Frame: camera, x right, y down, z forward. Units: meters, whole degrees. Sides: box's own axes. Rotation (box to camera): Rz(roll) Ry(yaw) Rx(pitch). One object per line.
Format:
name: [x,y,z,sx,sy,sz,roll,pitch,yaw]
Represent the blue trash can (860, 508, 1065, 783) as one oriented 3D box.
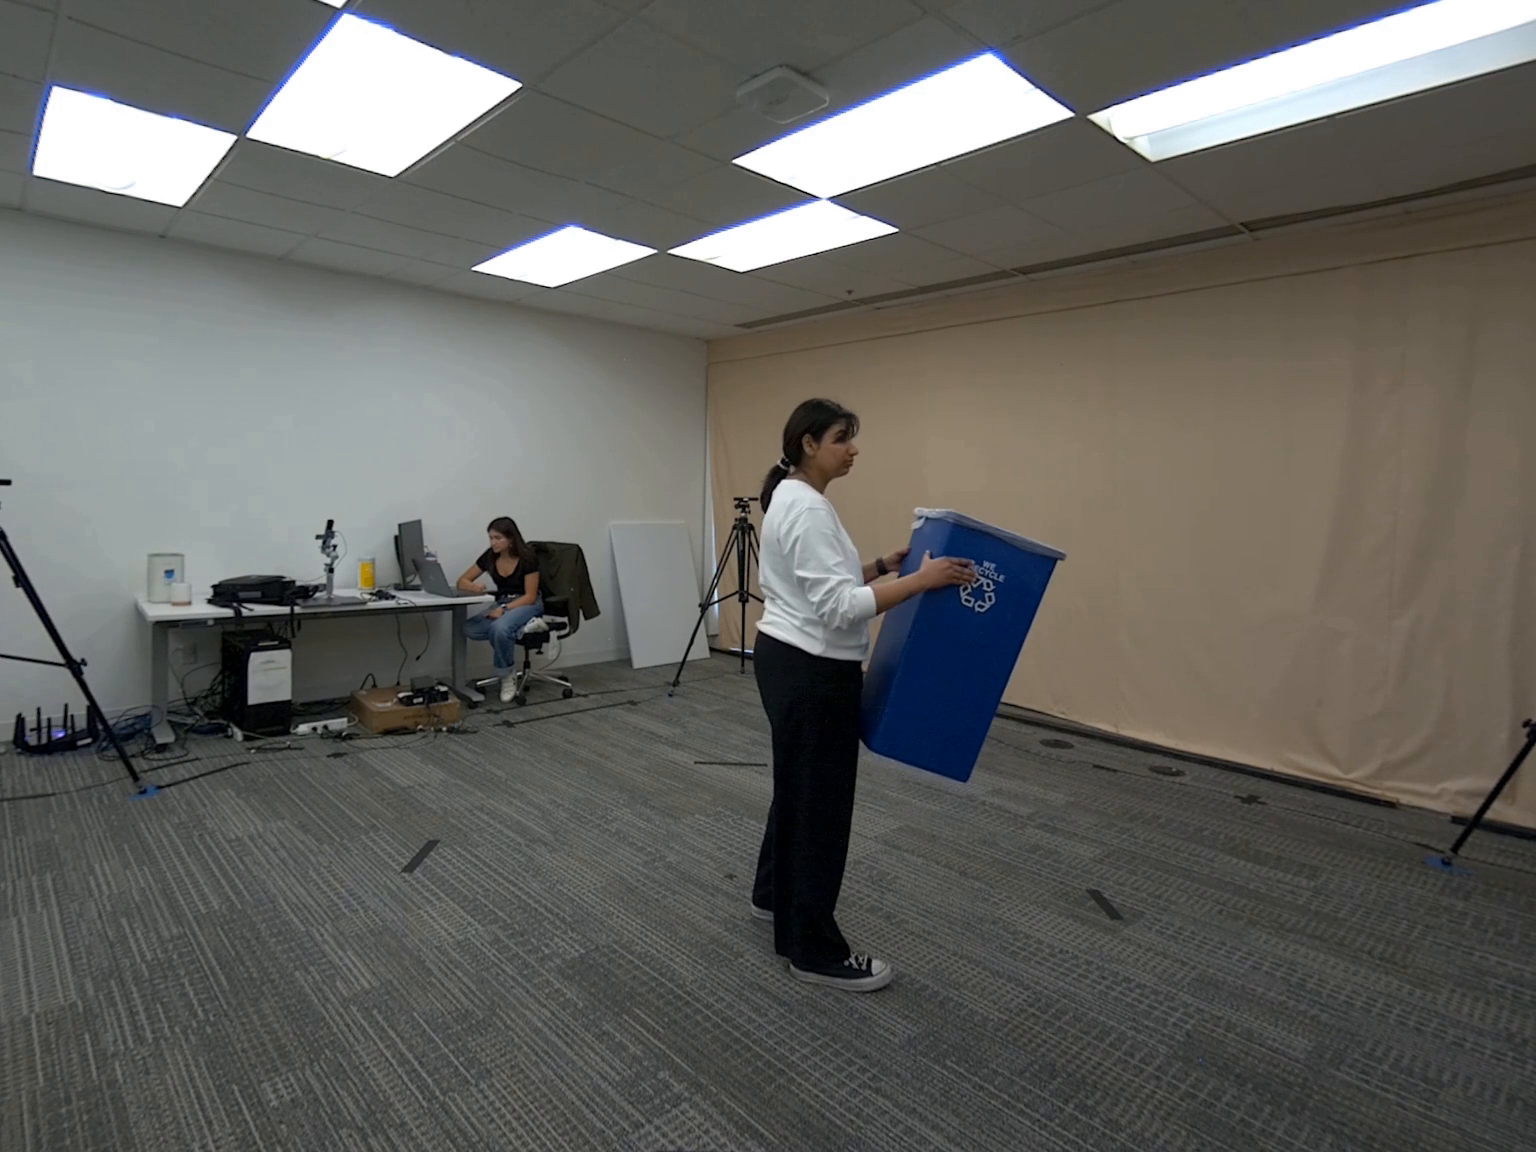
blue trash can: [0.531,0.195,2.515,0.372,0.713,0.380,19,2,-6]
